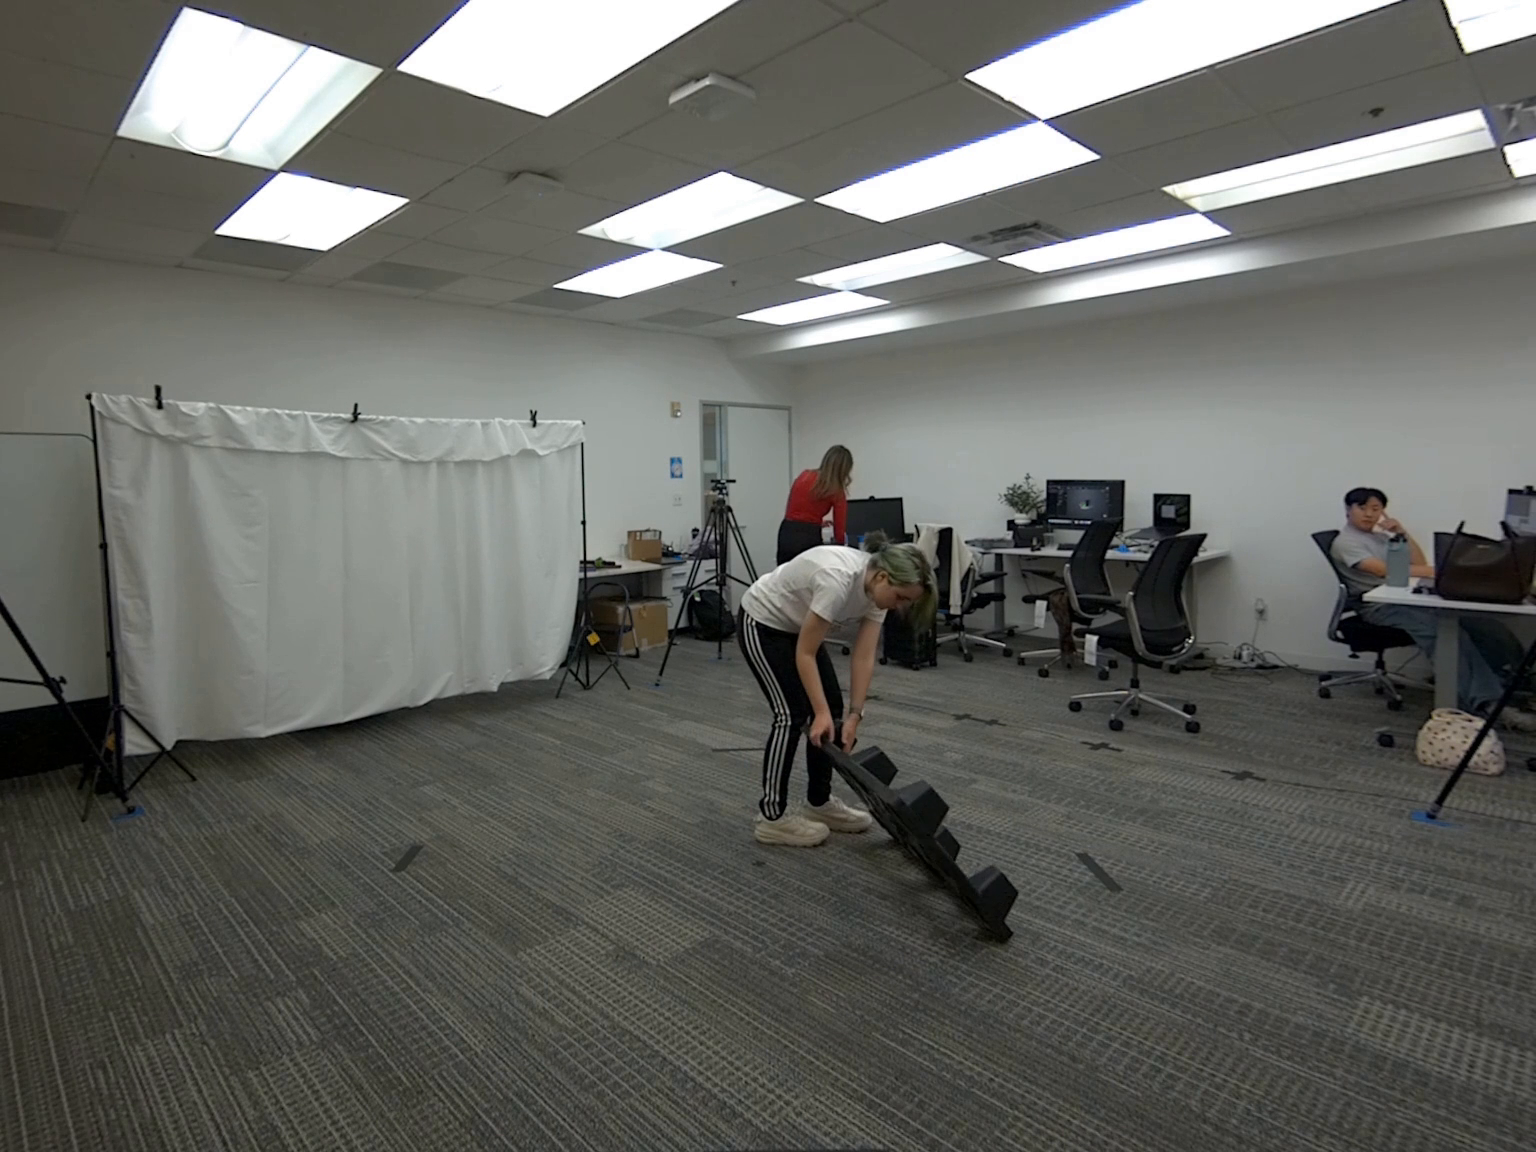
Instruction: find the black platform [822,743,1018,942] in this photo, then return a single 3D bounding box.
[{"bbox_3d":[0.465,0.798,2.865,0.143,0.595,0.821,-42,14,-9],"label":"black platform"}]
